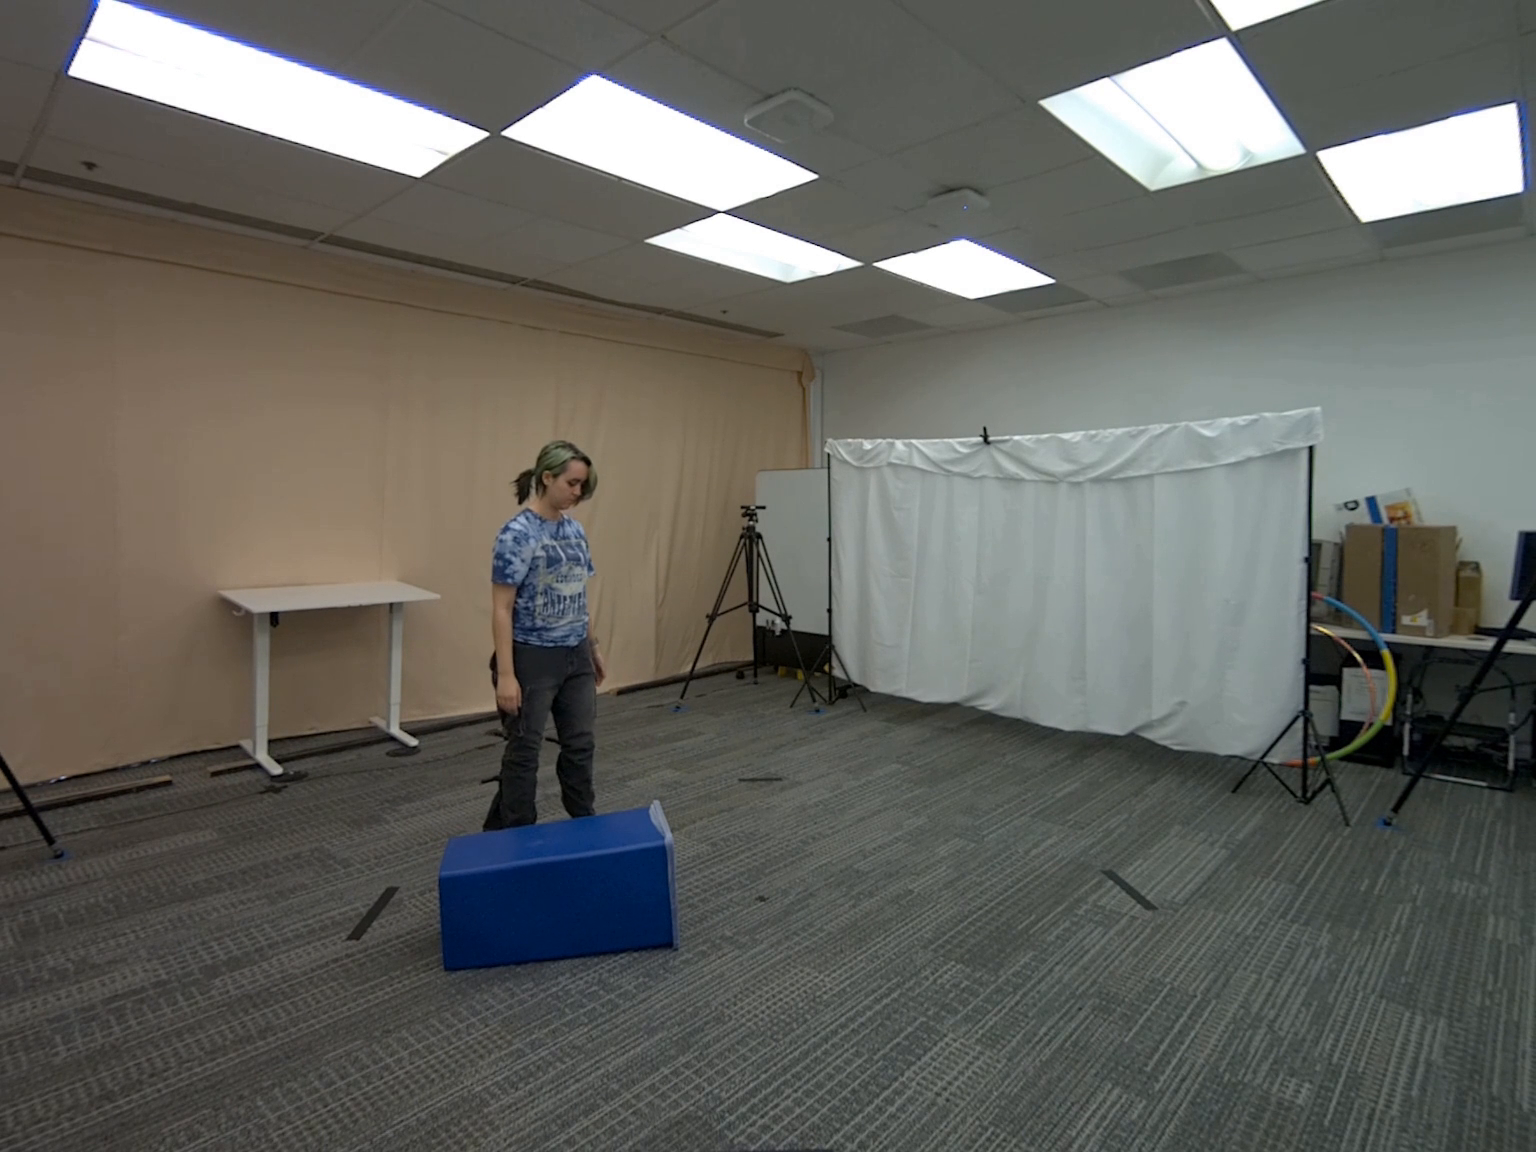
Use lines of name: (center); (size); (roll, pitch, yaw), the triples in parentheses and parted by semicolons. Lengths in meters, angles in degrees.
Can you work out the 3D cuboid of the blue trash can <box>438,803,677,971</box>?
blue trash can: (-0.667, 0.996, 2.722); (0.704, 0.373, 0.384); (-3, 4, -13)
